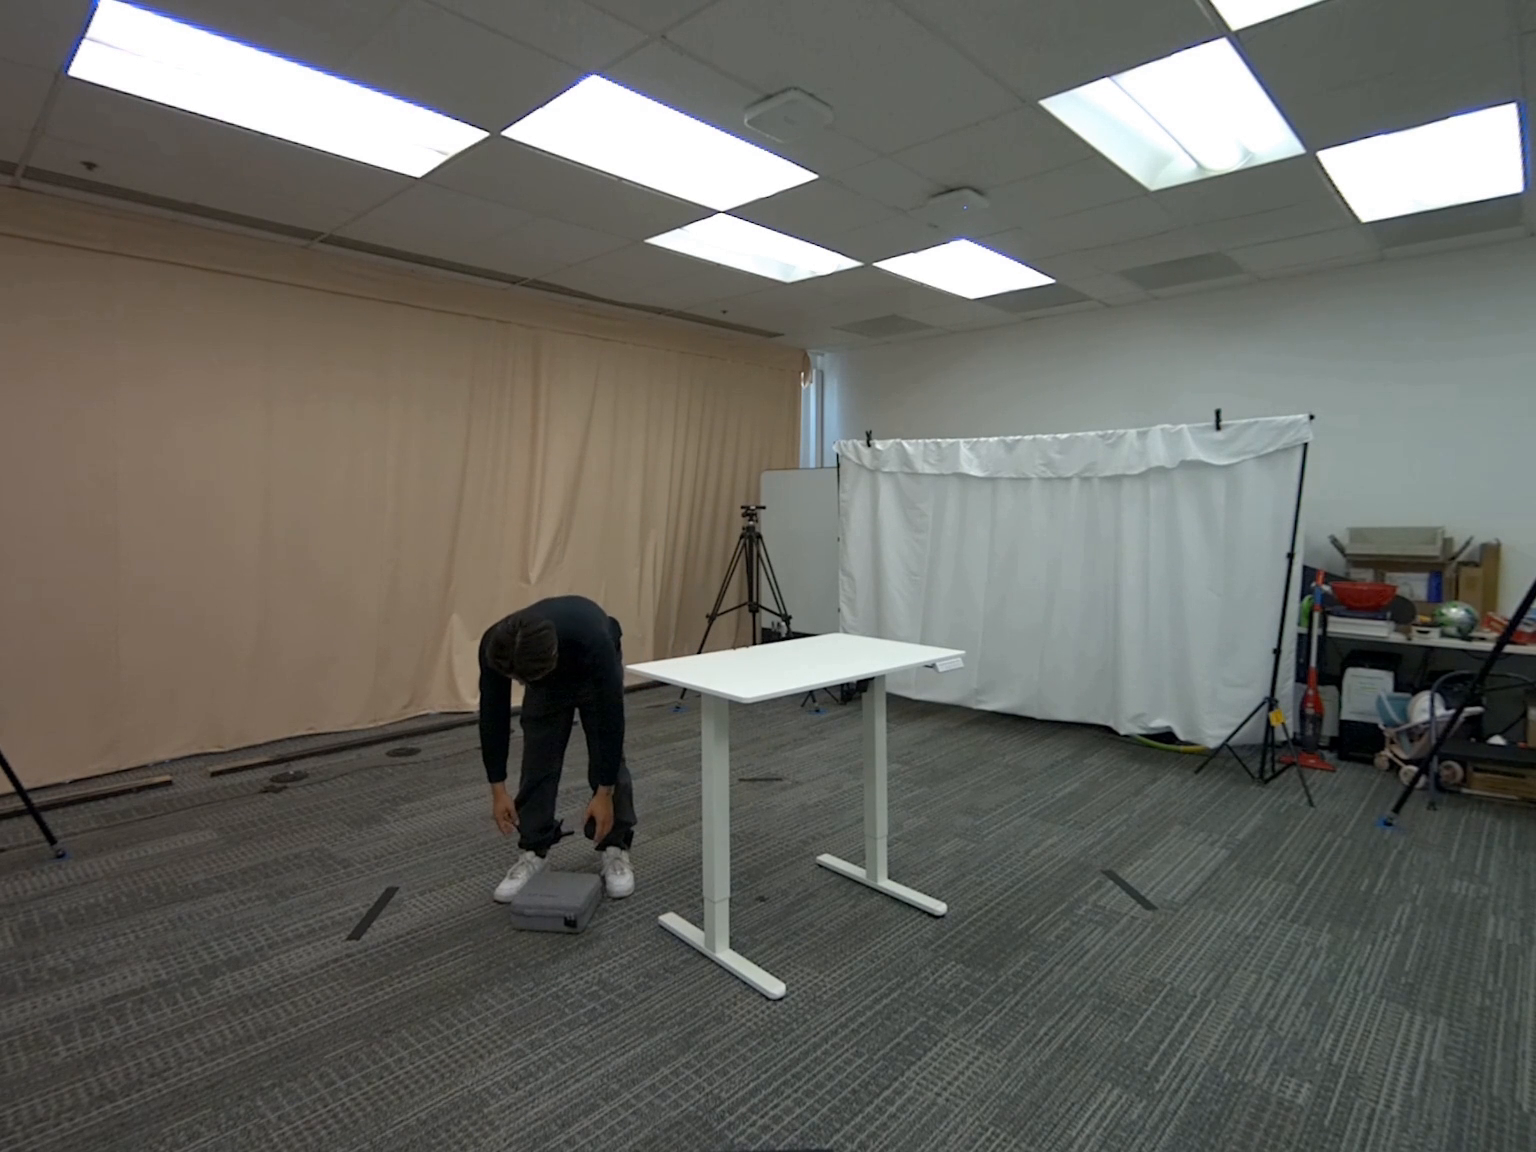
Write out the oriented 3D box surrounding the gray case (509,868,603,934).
[{"bbox_3d":[-0.721,1.103,2.867,0.259,0.104,0.259,0,3,6],"label":"gray case"}]
